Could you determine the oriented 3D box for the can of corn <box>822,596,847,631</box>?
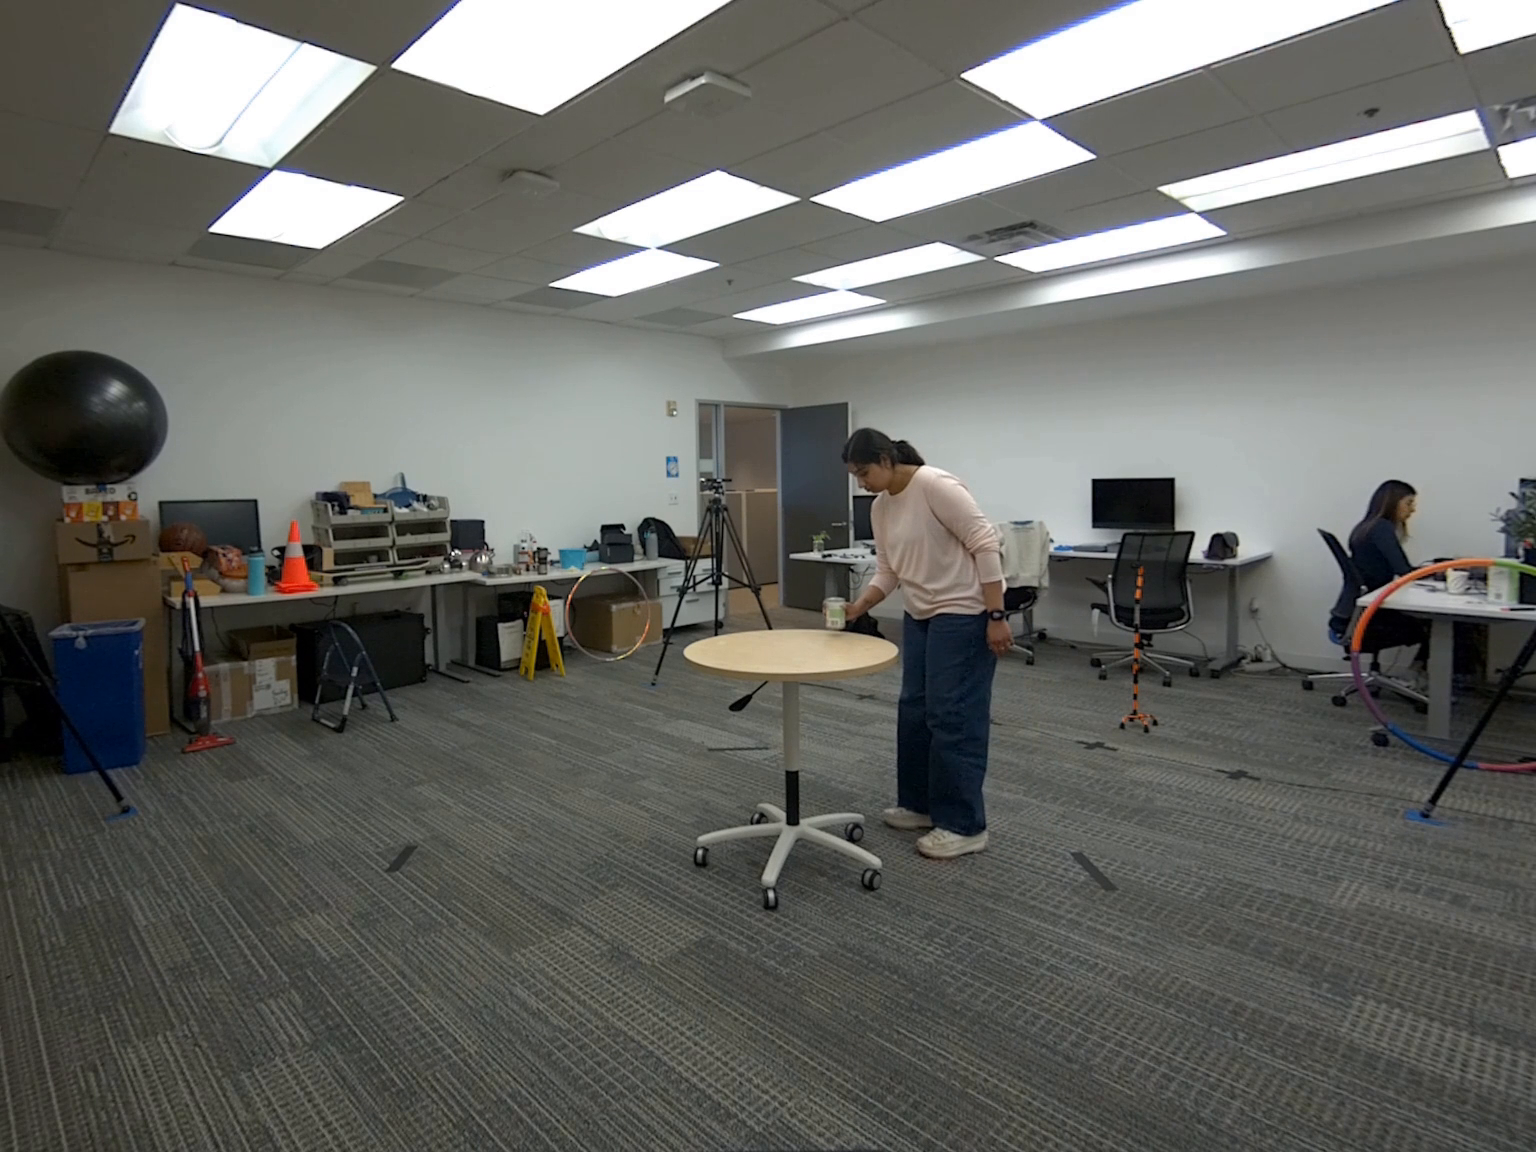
[{"bbox_3d":[0.264,0.143,3.297,0.074,0.111,0.074,2,4,-2],"label":"can of corn"}]
